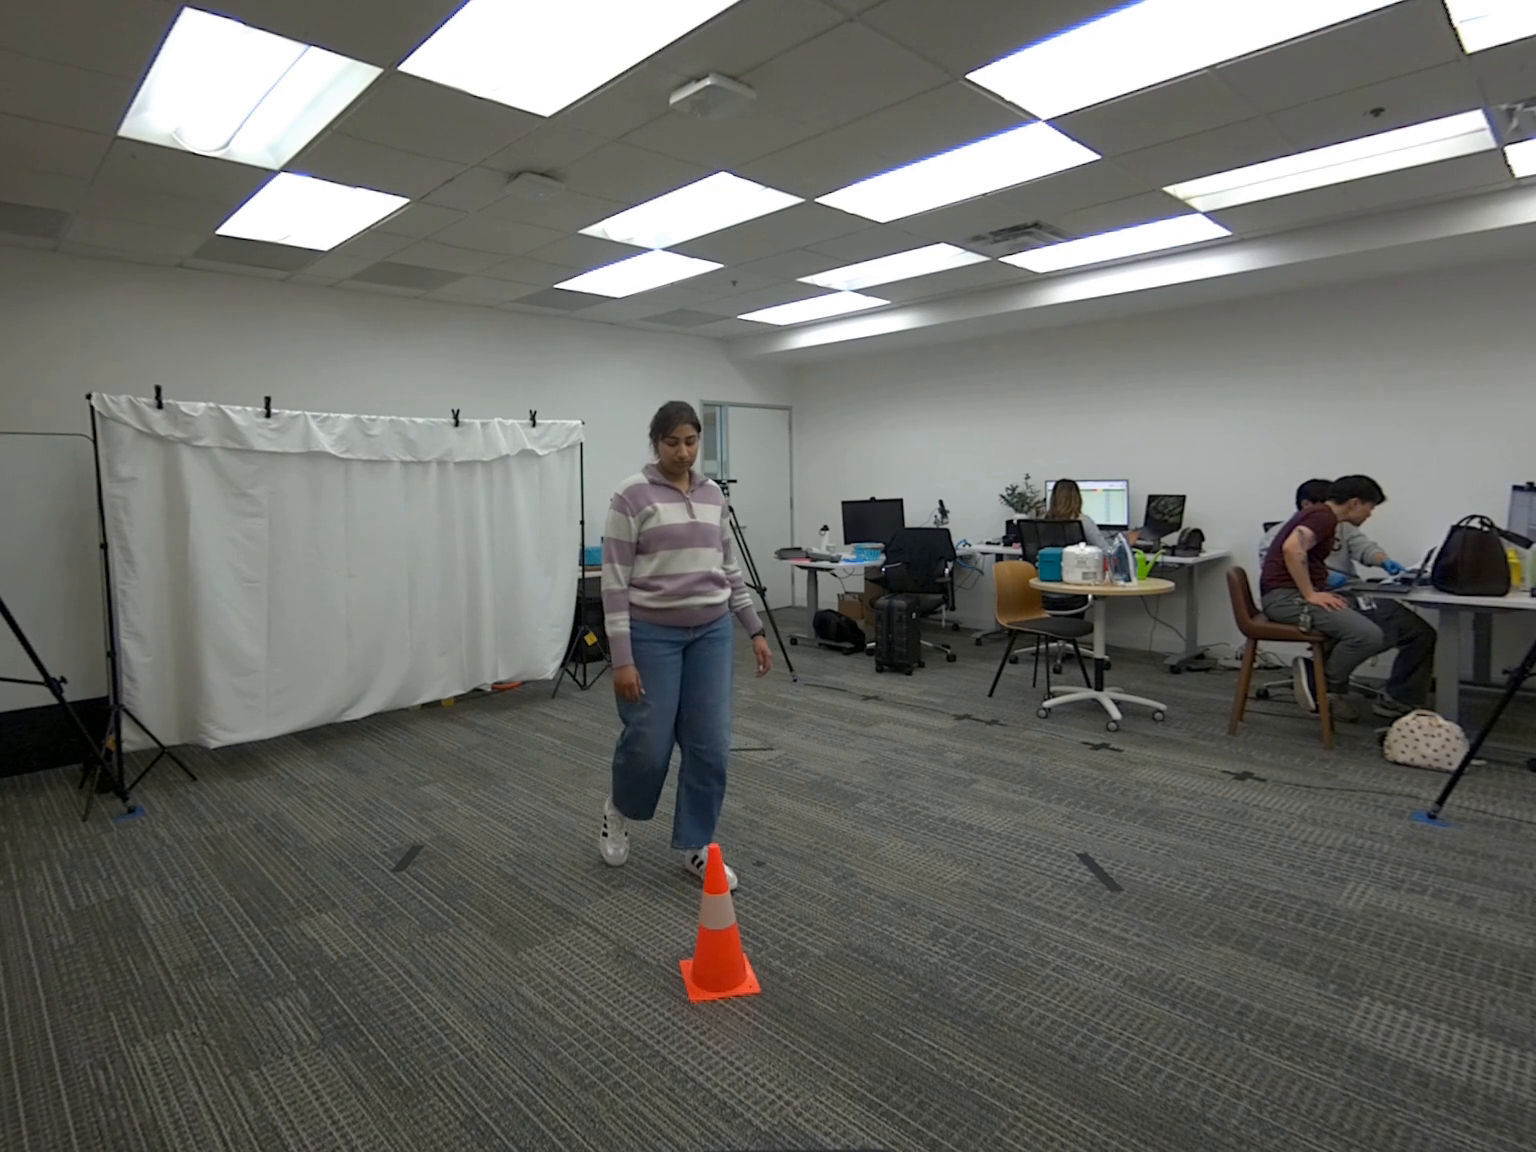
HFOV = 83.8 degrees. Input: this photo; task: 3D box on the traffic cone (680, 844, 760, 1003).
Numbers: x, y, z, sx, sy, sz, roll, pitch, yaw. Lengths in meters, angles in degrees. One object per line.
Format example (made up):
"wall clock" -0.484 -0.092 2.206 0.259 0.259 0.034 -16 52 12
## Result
"traffic cone" -0.143 0.949 2.397 0.203 0.382 0.206 -4 4 -13
